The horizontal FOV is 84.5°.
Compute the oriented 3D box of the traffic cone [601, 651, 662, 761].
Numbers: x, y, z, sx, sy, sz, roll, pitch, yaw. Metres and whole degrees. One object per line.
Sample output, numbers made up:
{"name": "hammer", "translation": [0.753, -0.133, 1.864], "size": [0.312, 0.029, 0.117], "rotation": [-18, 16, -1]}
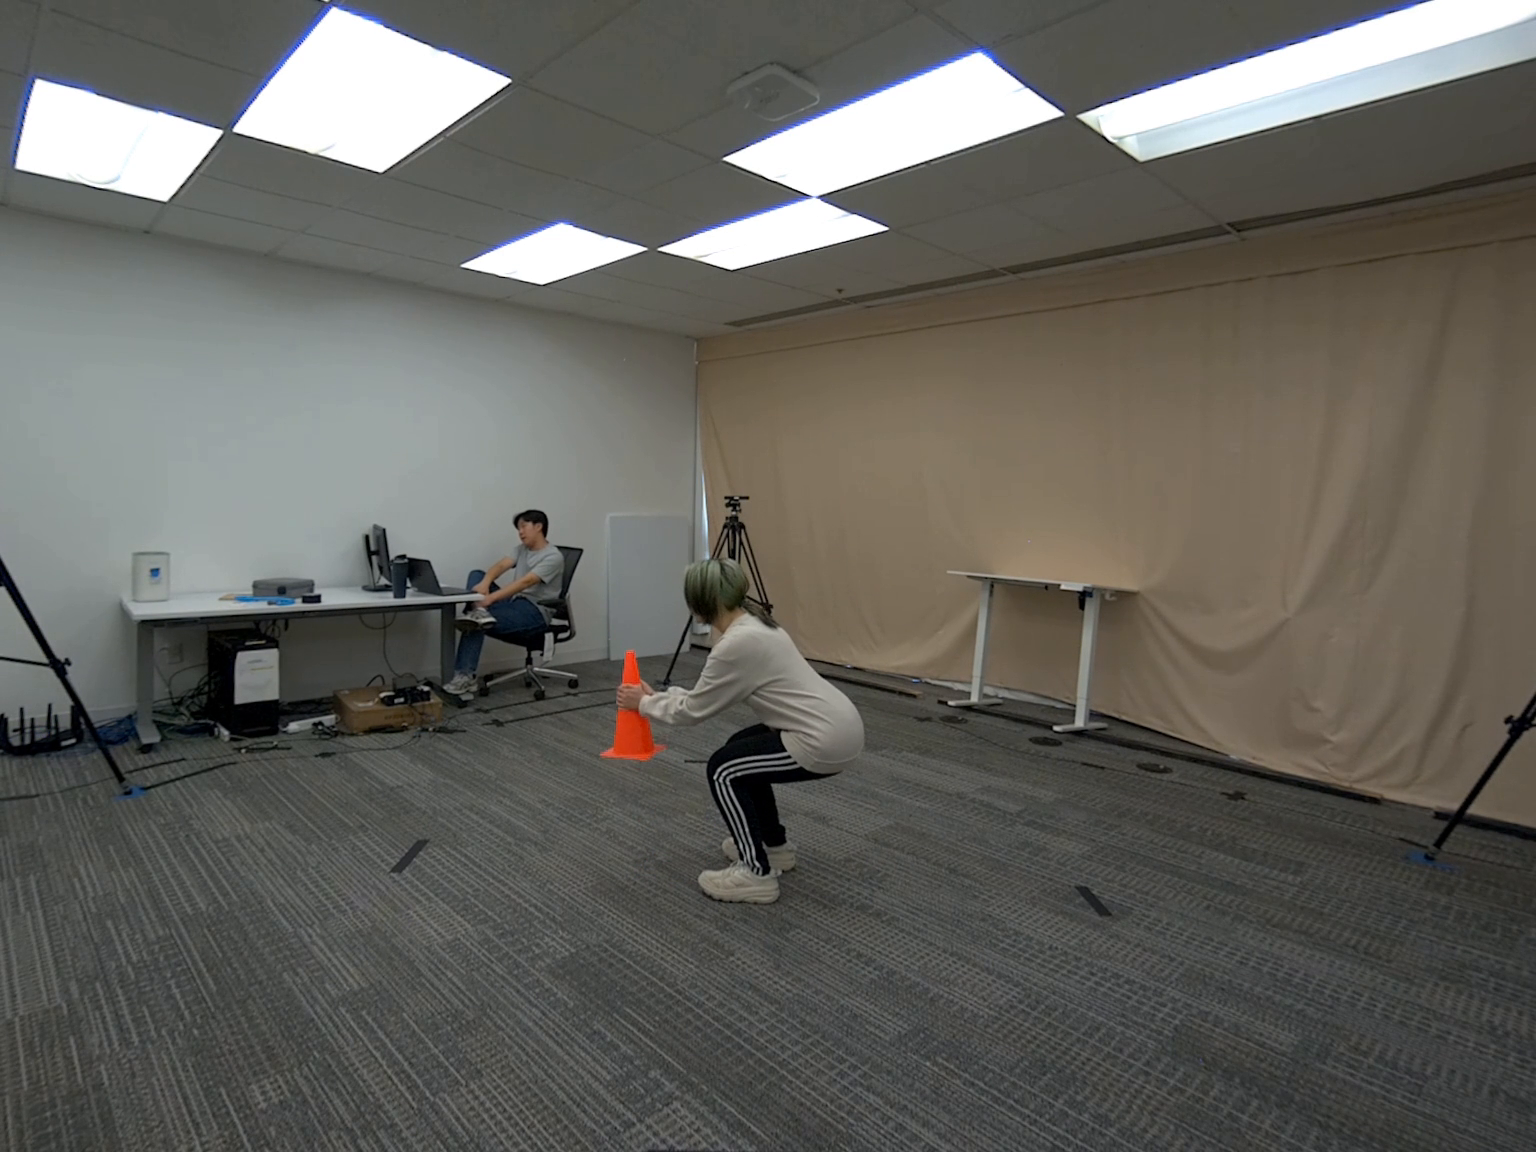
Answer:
{"name": "traffic cone", "translation": [-0.517, 0.475, 3.204], "size": [0.207, 0.383, 0.201], "rotation": [0, 1, 22]}
